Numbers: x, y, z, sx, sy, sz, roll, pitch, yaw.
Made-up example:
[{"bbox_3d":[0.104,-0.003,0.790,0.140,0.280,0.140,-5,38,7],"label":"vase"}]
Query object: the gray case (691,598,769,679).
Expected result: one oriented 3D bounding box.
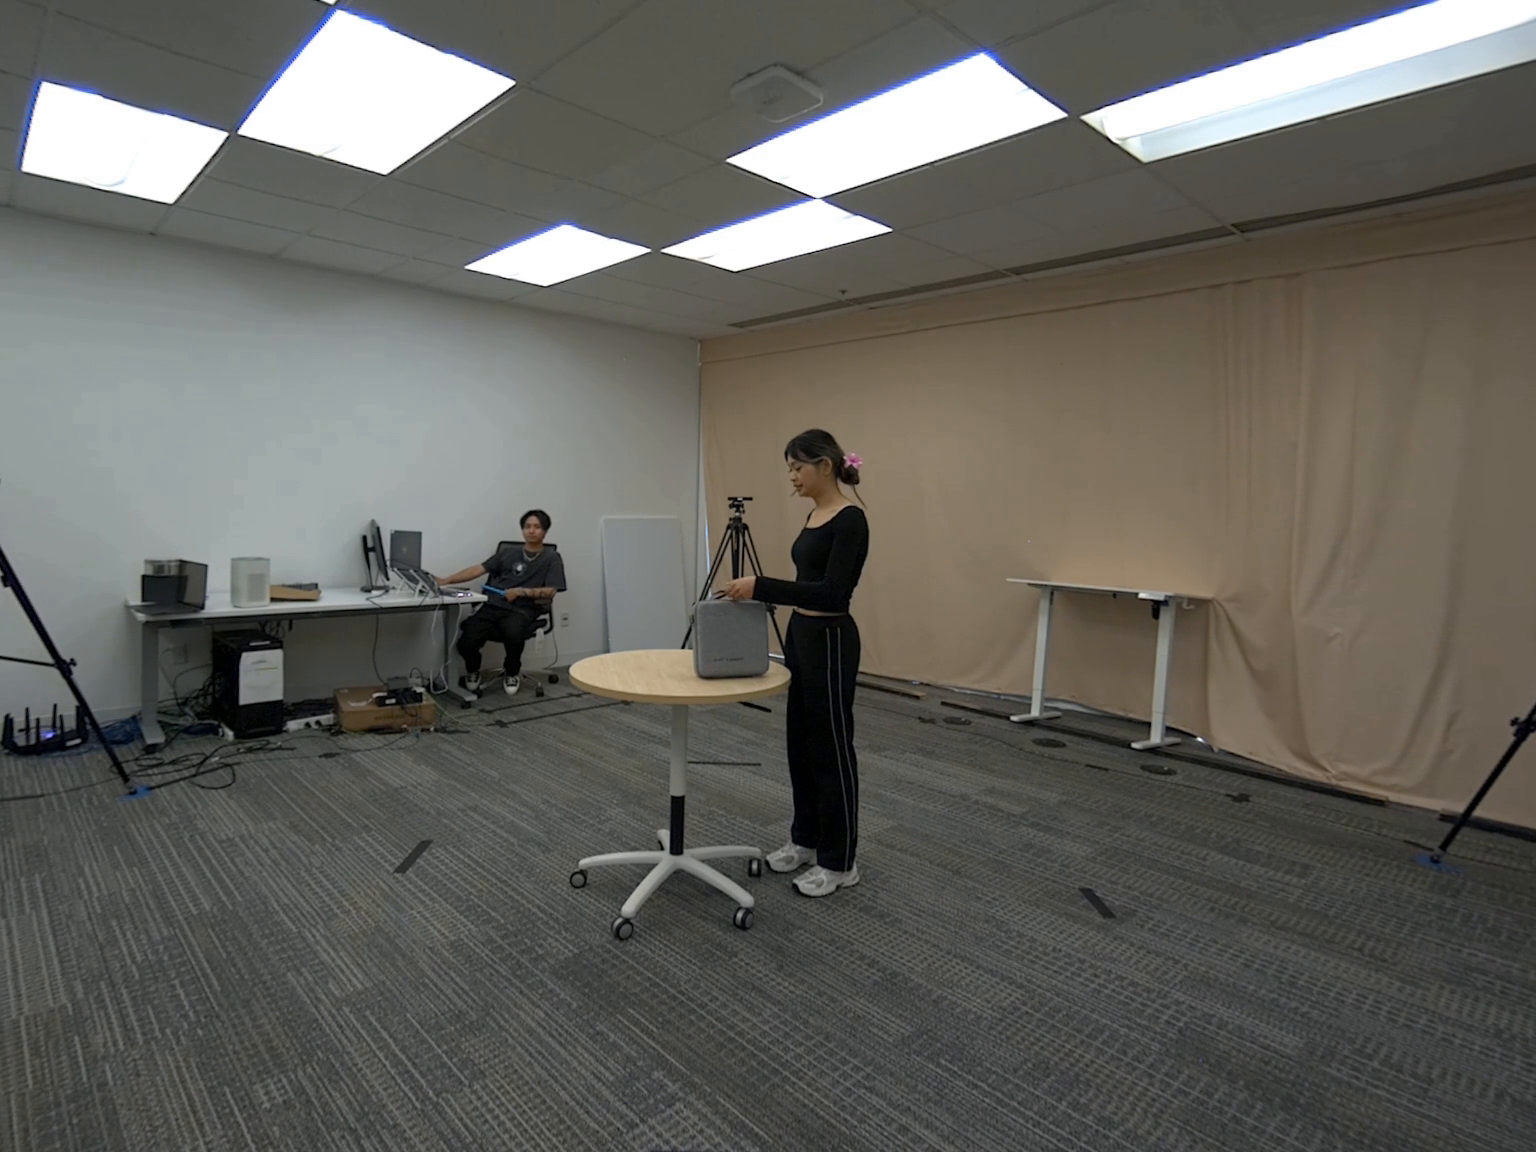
[{"bbox_3d":[-0.134,0.207,2.852,0.253,0.262,0.105,0,-7,-19],"label":"gray case"}]
